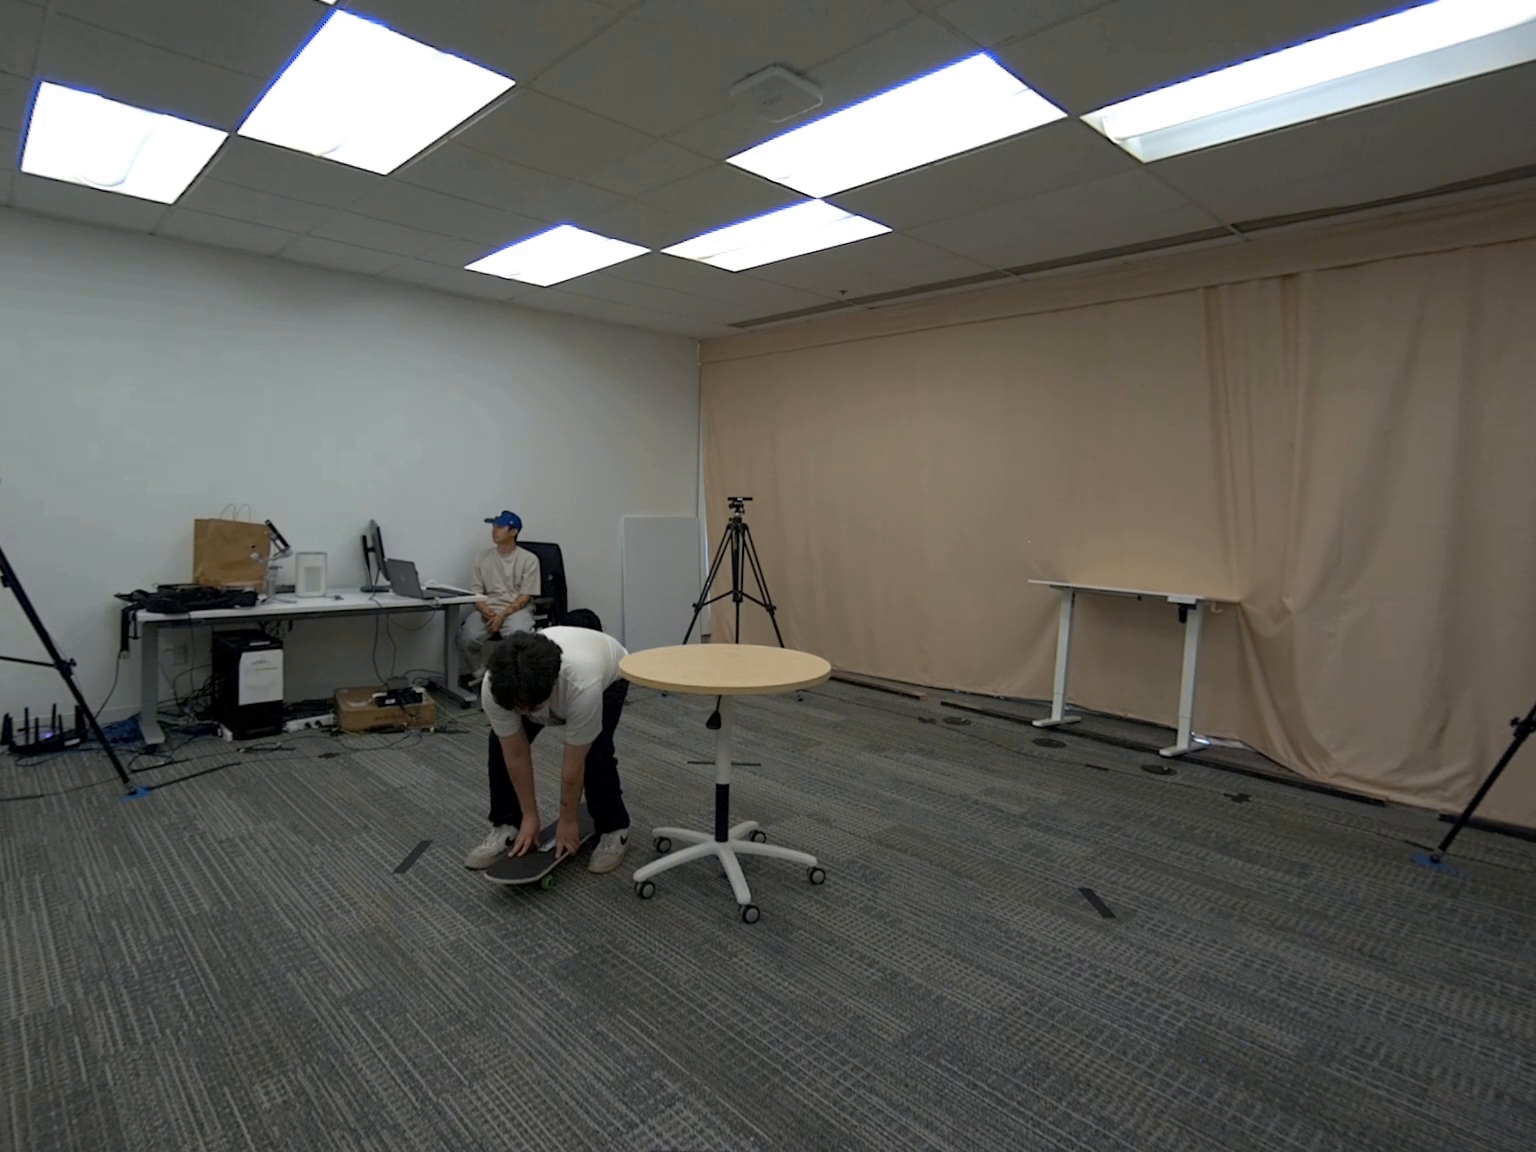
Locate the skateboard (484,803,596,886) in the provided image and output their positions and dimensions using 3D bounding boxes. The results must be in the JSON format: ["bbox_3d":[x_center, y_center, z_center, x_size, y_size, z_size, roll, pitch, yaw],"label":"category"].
[{"bbox_3d":[-0.807,1.030,3.178,0.196,0.110,0.778,3,5,14],"label":"skateboard"}]
